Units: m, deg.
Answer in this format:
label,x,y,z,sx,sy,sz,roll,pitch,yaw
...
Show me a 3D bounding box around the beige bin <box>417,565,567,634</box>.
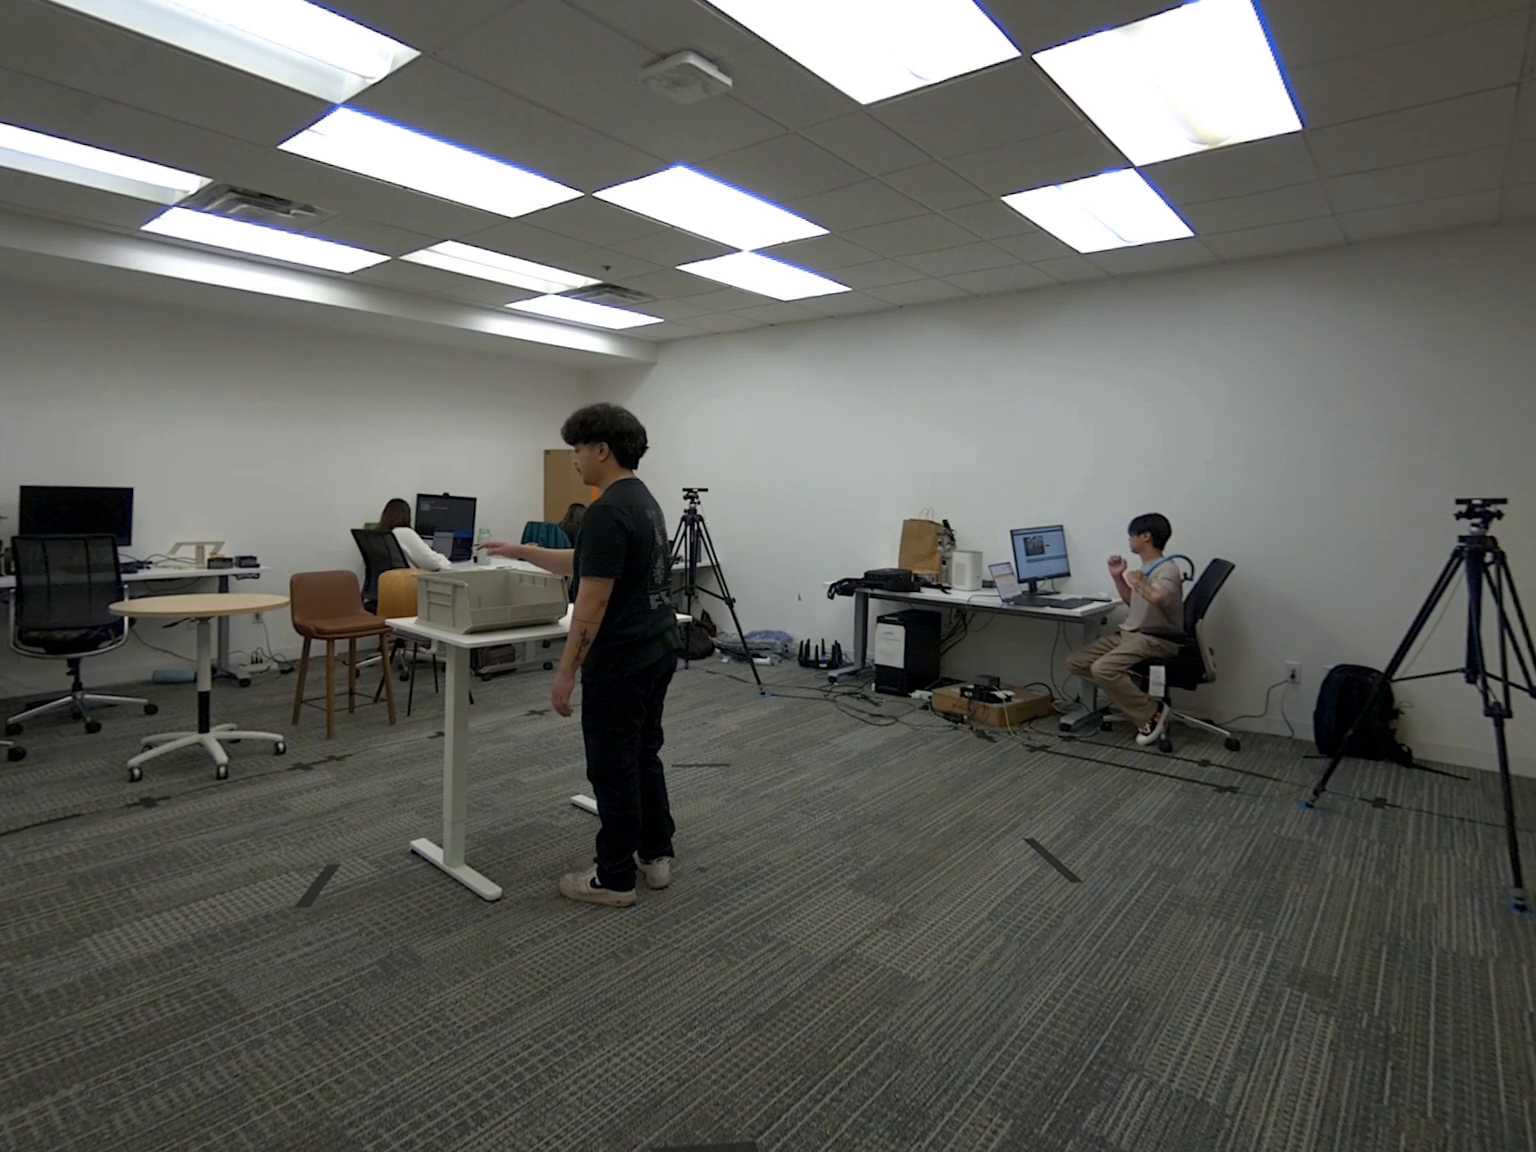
label,x,y,z,sx,sy,sz,roll,pitch,yaw
beige bin,-1.019,0.089,3.093,0.390,0.188,0.410,5,7,39
